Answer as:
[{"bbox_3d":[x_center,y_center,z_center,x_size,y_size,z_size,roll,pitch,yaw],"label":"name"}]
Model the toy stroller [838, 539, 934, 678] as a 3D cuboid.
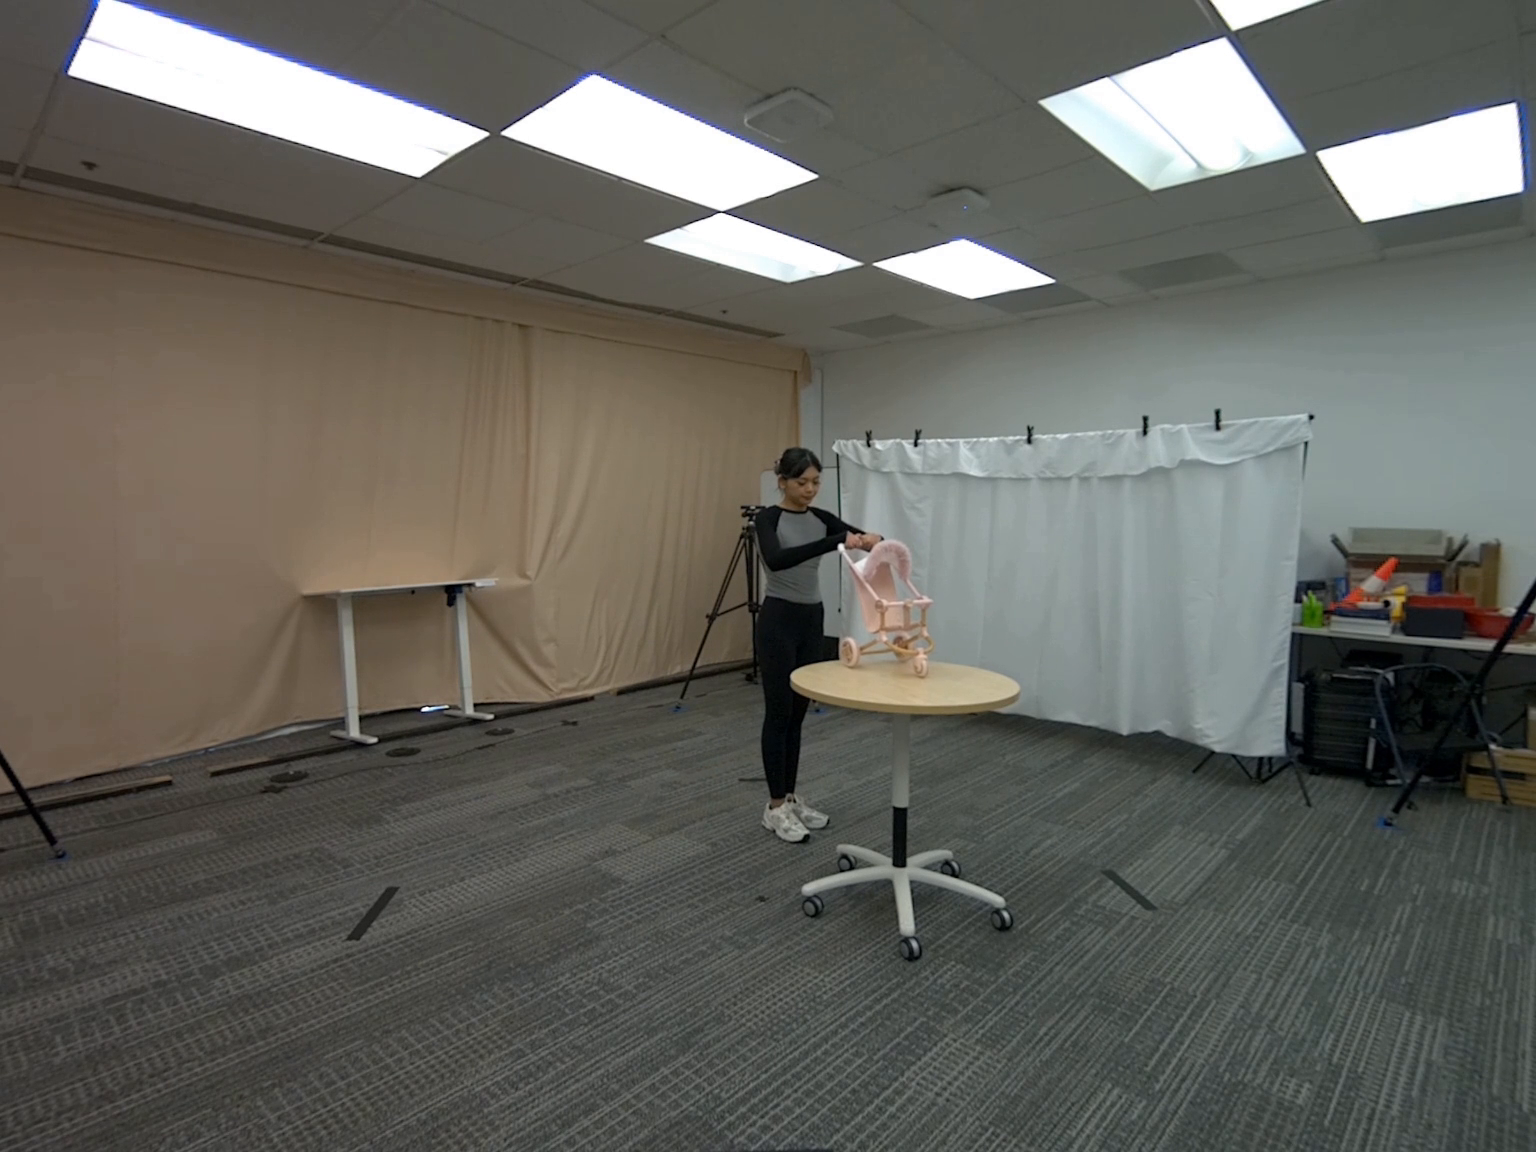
[{"bbox_3d":[0.444,0.108,3.078,0.275,0.537,0.347,-2,-7,-24],"label":"toy stroller"}]
